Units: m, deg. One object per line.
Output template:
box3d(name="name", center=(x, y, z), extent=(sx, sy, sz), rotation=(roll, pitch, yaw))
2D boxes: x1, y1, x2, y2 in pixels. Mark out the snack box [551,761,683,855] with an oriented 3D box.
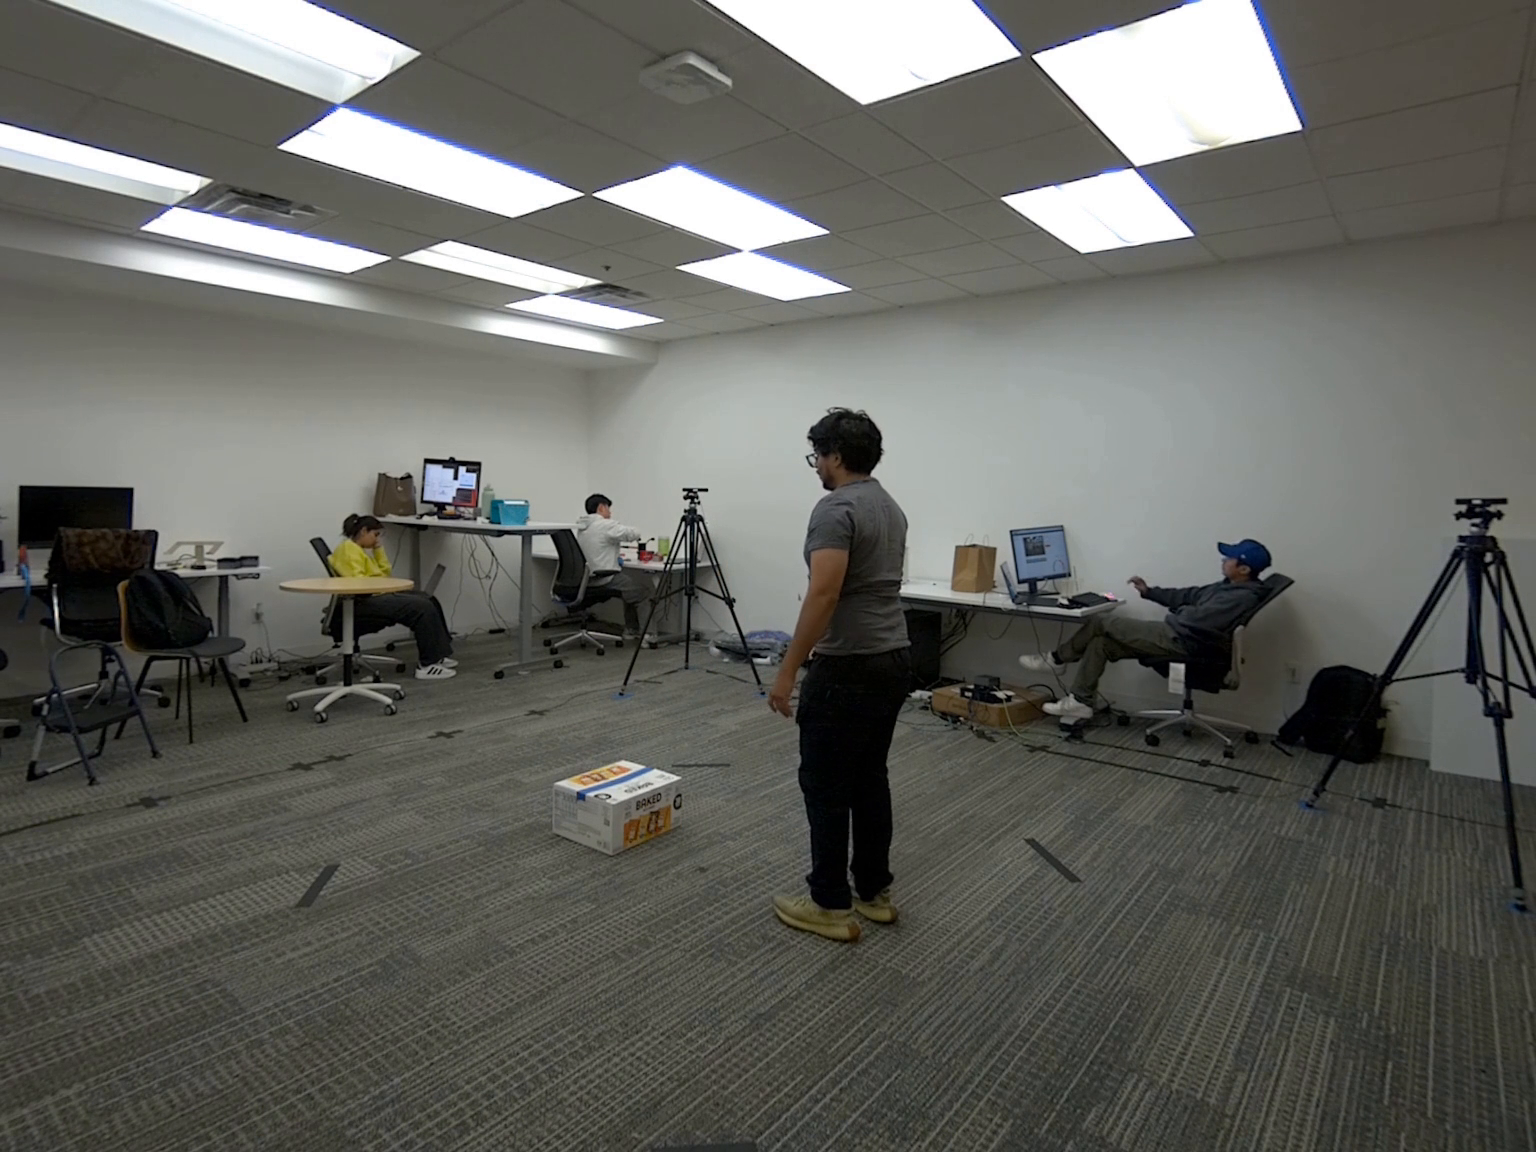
box3d(name="snack box", center=(-0.621, 0.928, 3.452), extent=(0.351, 0.205, 0.393), rotation=(4, 6, 36))
